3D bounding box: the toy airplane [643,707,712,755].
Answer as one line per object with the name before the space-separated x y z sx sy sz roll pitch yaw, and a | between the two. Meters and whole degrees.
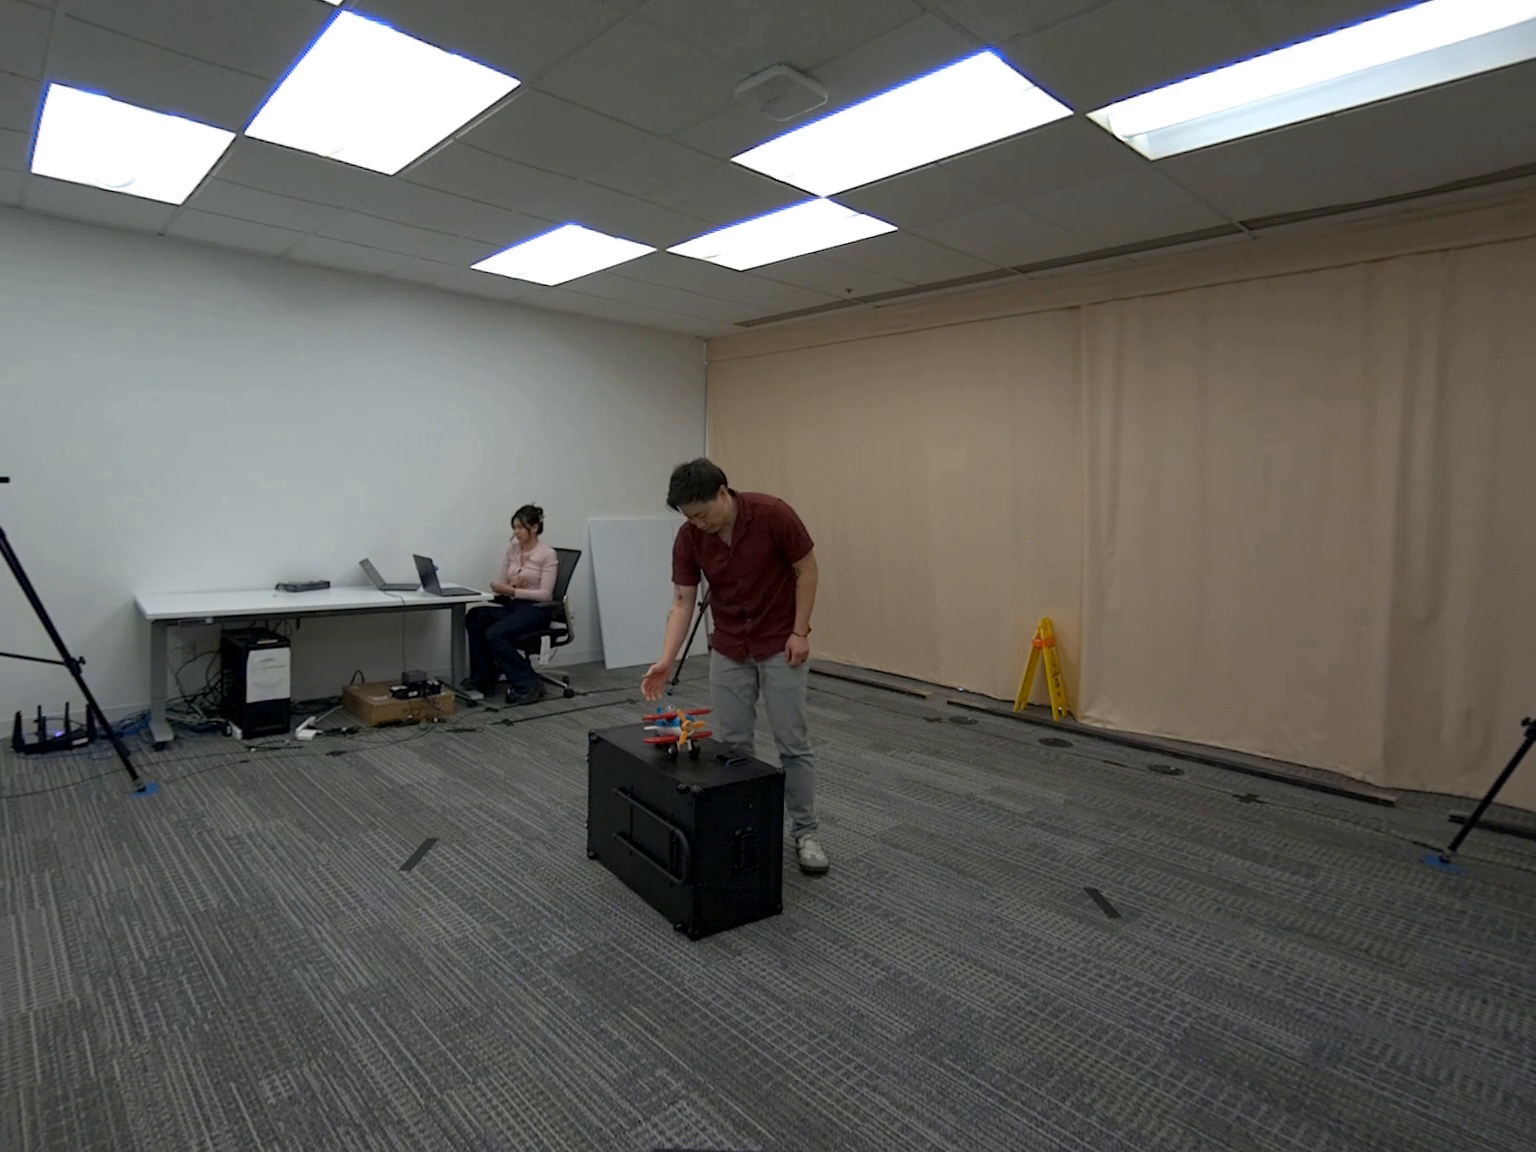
toy airplane | -0.362 0.549 2.999 0.265 0.156 0.246 6 7 33
